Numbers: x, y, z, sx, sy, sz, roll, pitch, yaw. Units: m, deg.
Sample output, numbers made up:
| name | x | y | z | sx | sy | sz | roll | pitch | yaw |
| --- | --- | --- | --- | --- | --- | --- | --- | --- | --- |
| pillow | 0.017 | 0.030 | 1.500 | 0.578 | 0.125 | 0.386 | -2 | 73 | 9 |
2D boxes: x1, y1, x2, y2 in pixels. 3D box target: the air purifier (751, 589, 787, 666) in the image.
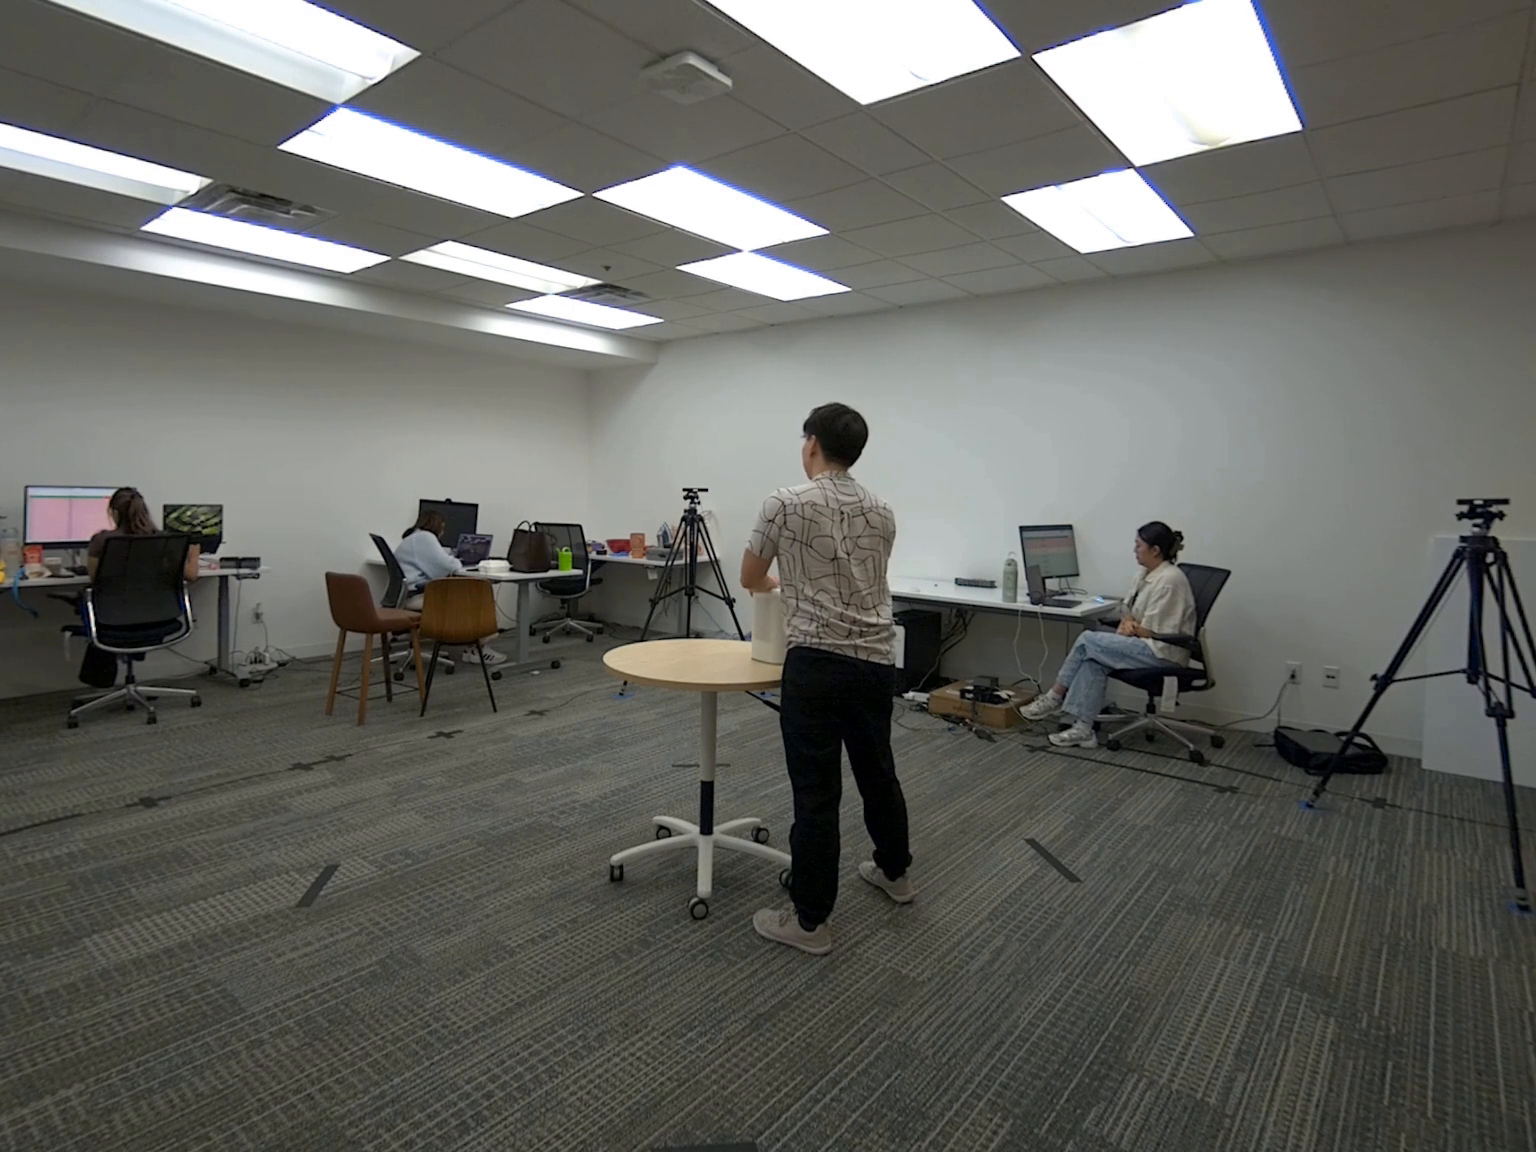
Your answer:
| name | x | y | z | sx | sy | sz | roll | pitch | yaw |
| --- | --- | --- | --- | --- | --- | --- | --- | --- | --- |
| air purifier | 0.035 | 0.167 | 3.067 | 0.166 | 0.265 | 0.177 | 0 | 4 | -39 |
